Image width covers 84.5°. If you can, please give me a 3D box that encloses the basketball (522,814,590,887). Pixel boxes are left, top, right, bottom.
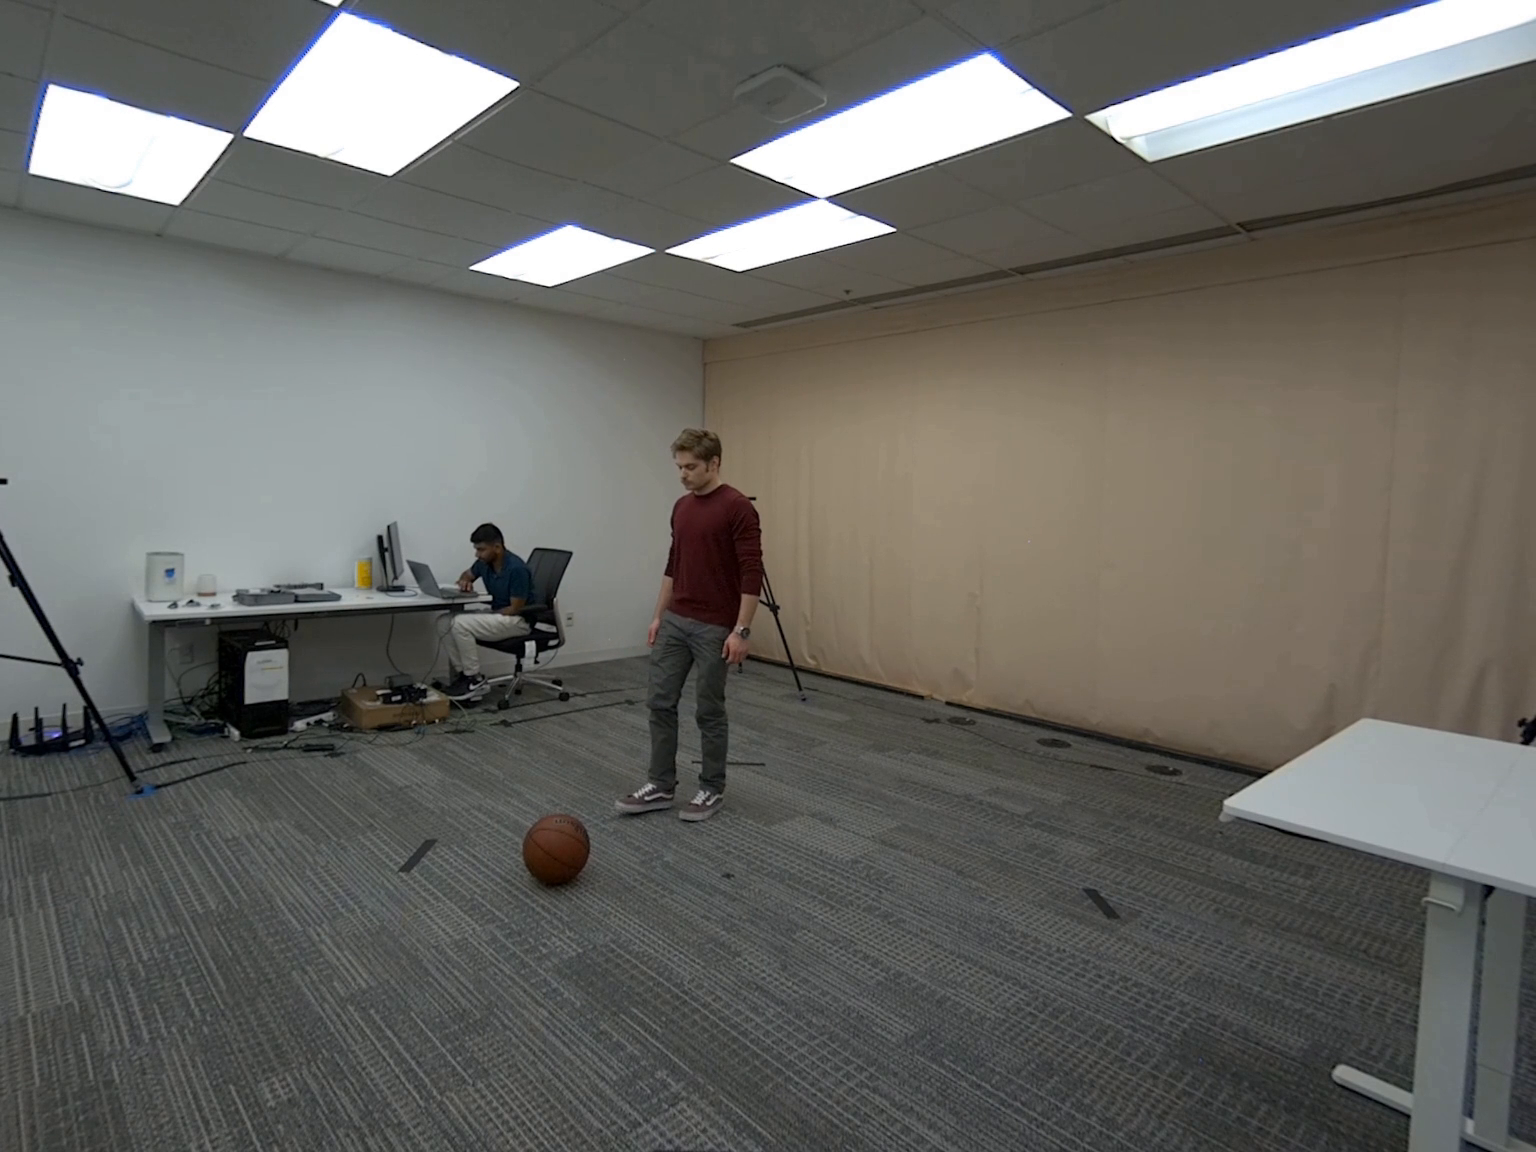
[{"bbox_3d":[-0.769,0.983,3.026,0.236,0.235,0.237,1,4,-1],"label":"basketball"}]
